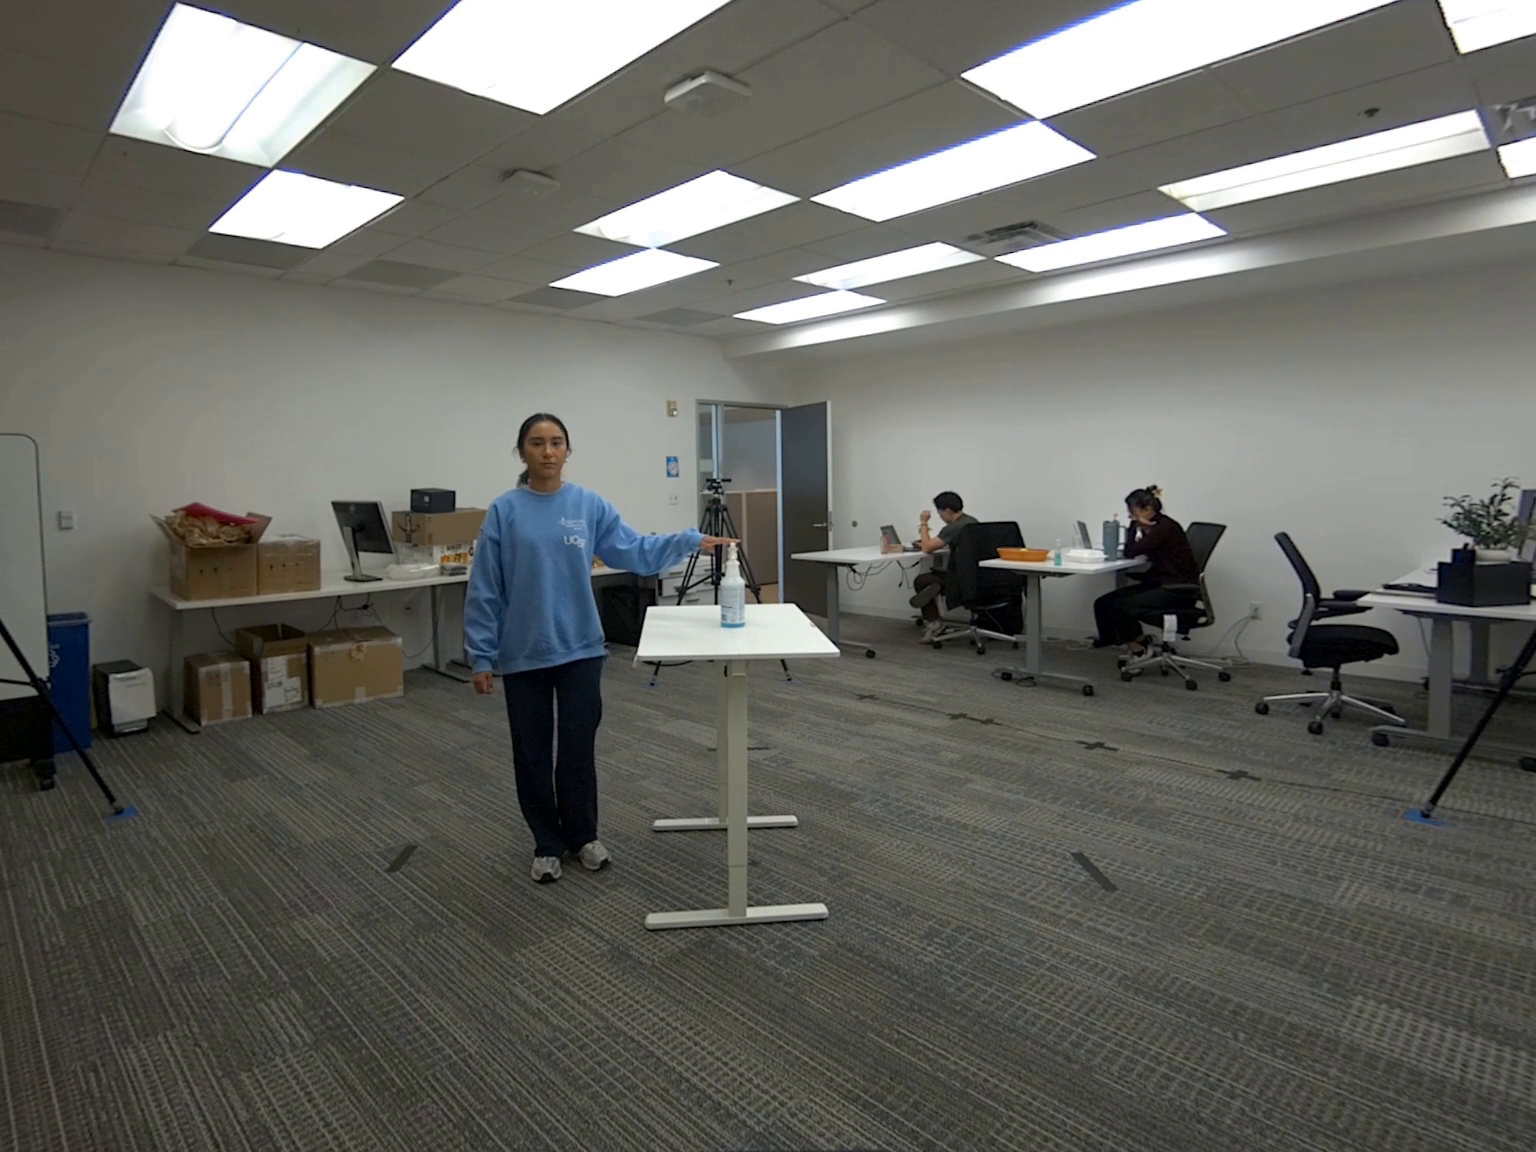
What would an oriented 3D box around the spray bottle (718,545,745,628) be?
[{"bbox_3d":[-0.123,0.030,2.993,0.089,0.296,0.089,1,6,19],"label":"spray bottle"}]
